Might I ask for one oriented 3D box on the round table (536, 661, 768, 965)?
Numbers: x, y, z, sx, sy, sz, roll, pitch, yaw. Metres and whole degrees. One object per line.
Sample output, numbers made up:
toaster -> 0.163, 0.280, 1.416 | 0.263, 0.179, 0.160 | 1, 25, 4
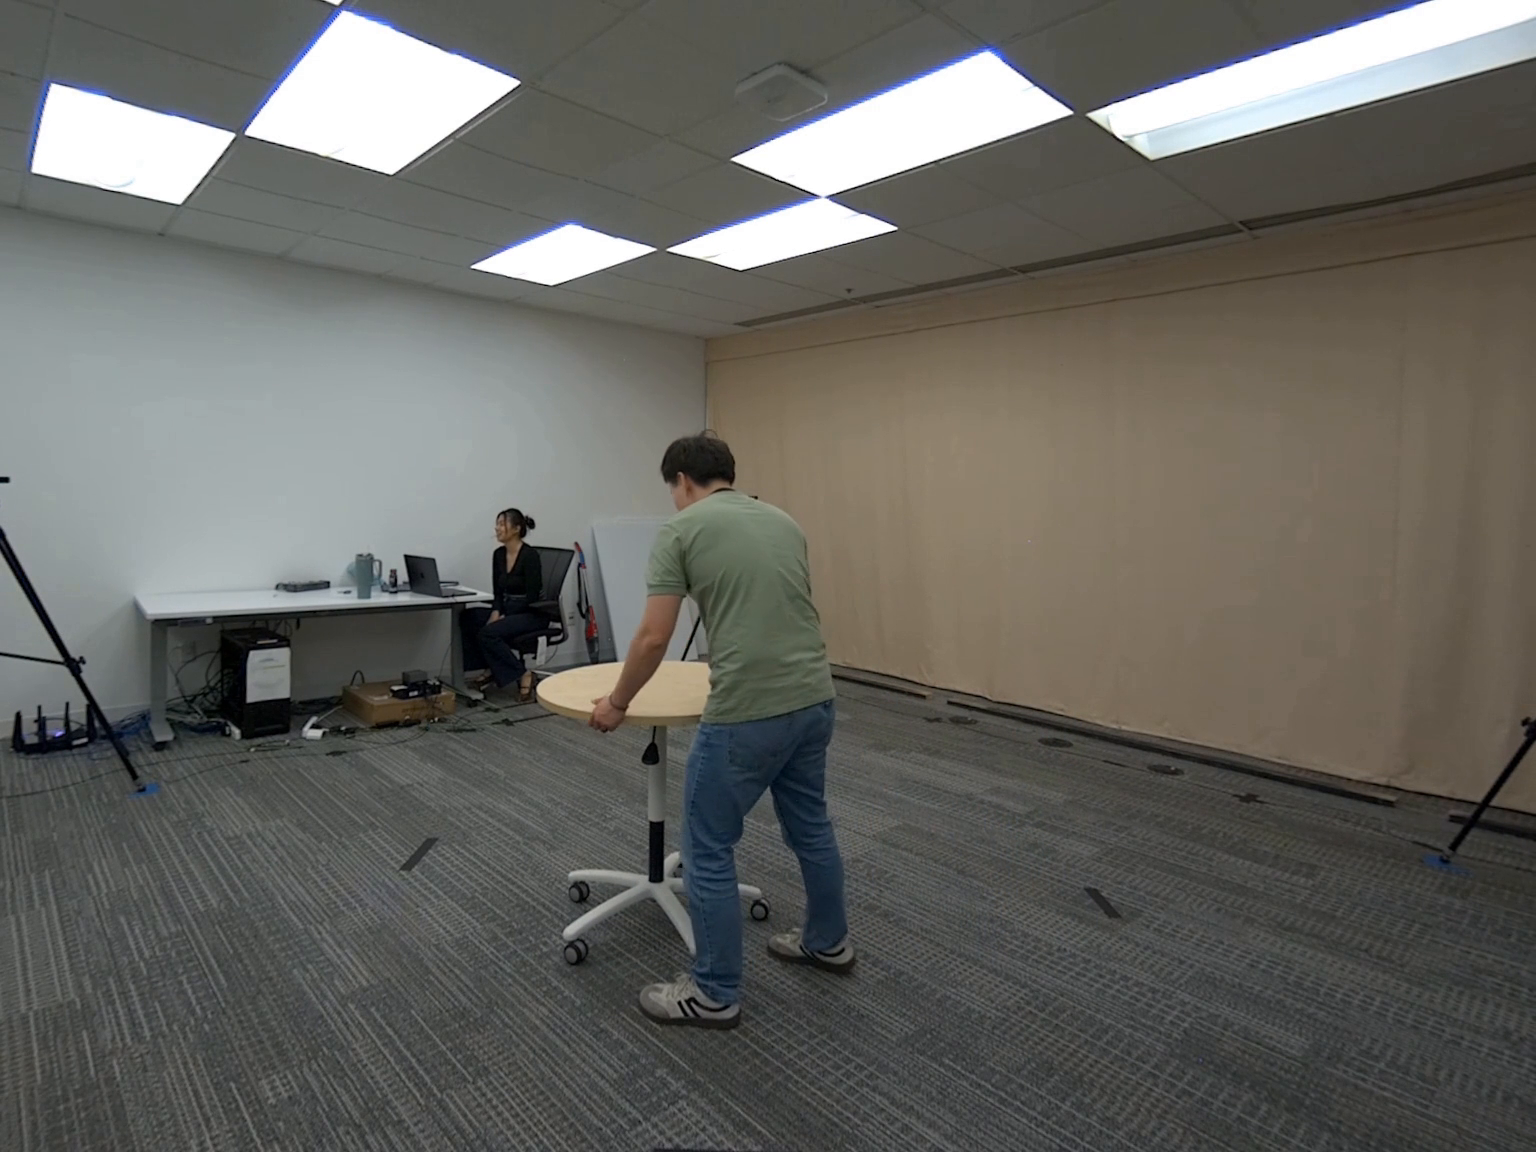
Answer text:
round table -> -0.357, 0.744, 2.725 | 0.763, 0.792, 0.767 | 1, 4, -1
